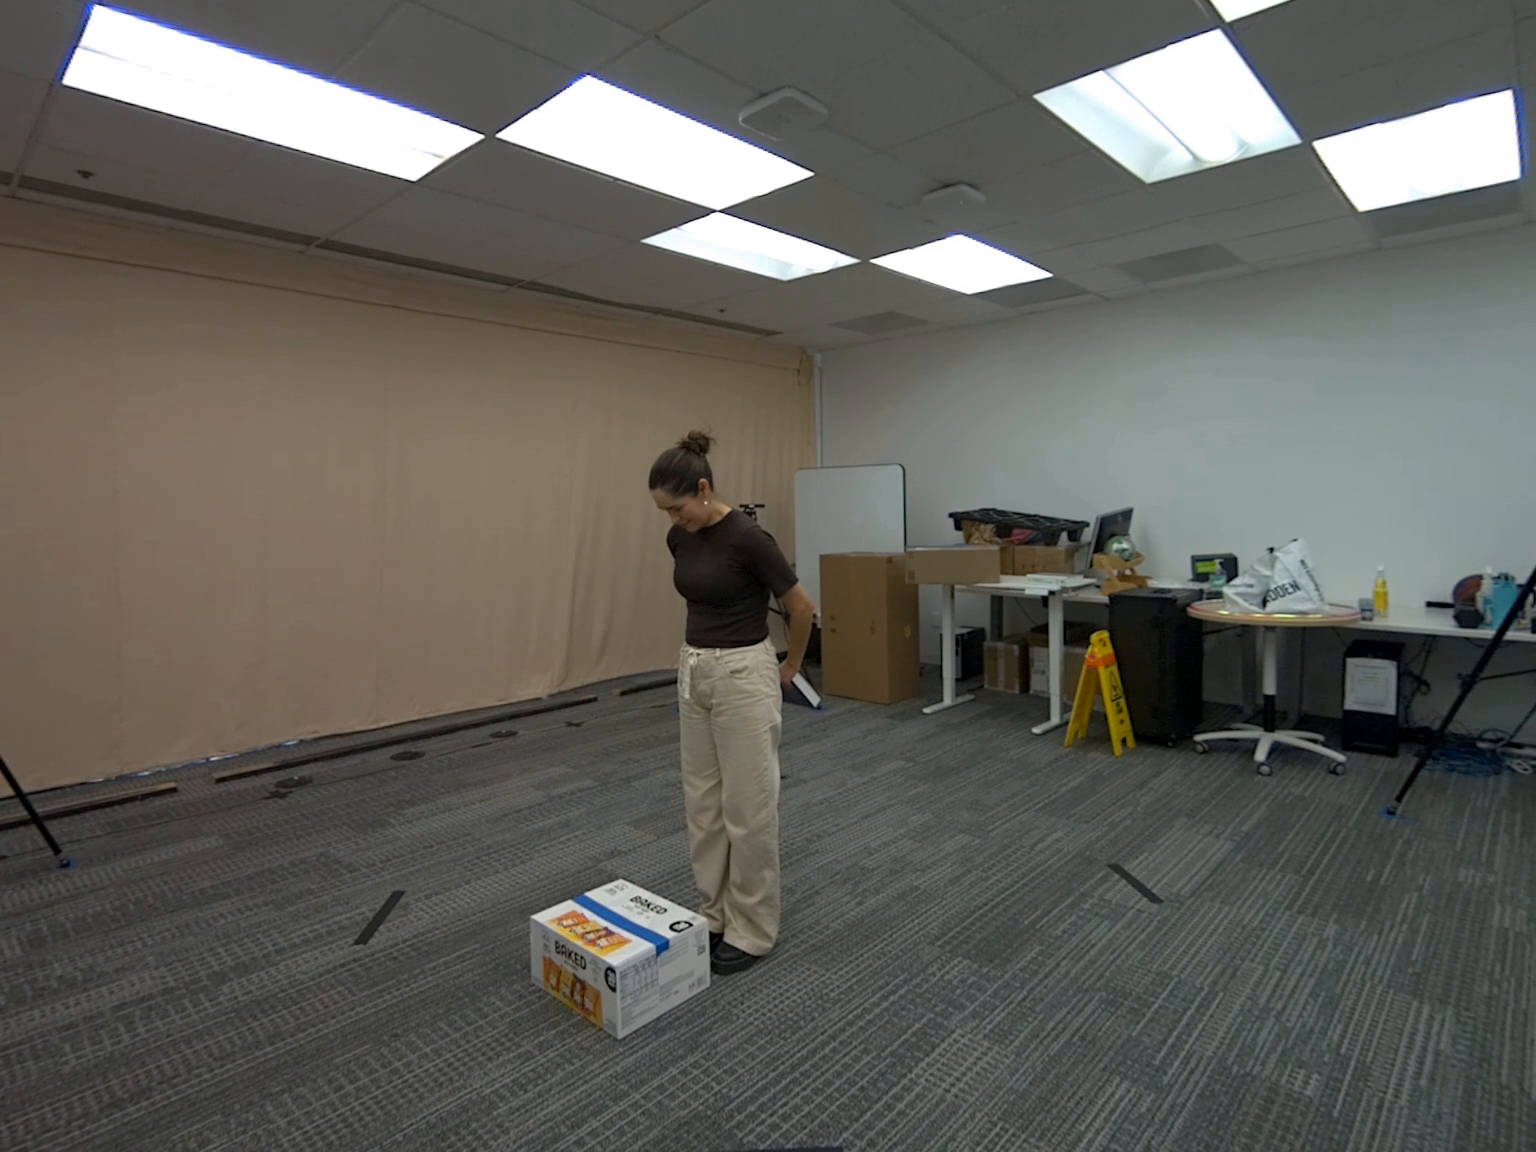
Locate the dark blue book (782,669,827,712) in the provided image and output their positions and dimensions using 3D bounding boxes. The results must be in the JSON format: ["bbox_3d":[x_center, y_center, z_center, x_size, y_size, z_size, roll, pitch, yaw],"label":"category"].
[{"bbox_3d":[0.052,0.365,2.835,0.253,0.159,0.045,3,49,50],"label":"dark blue book"}]
